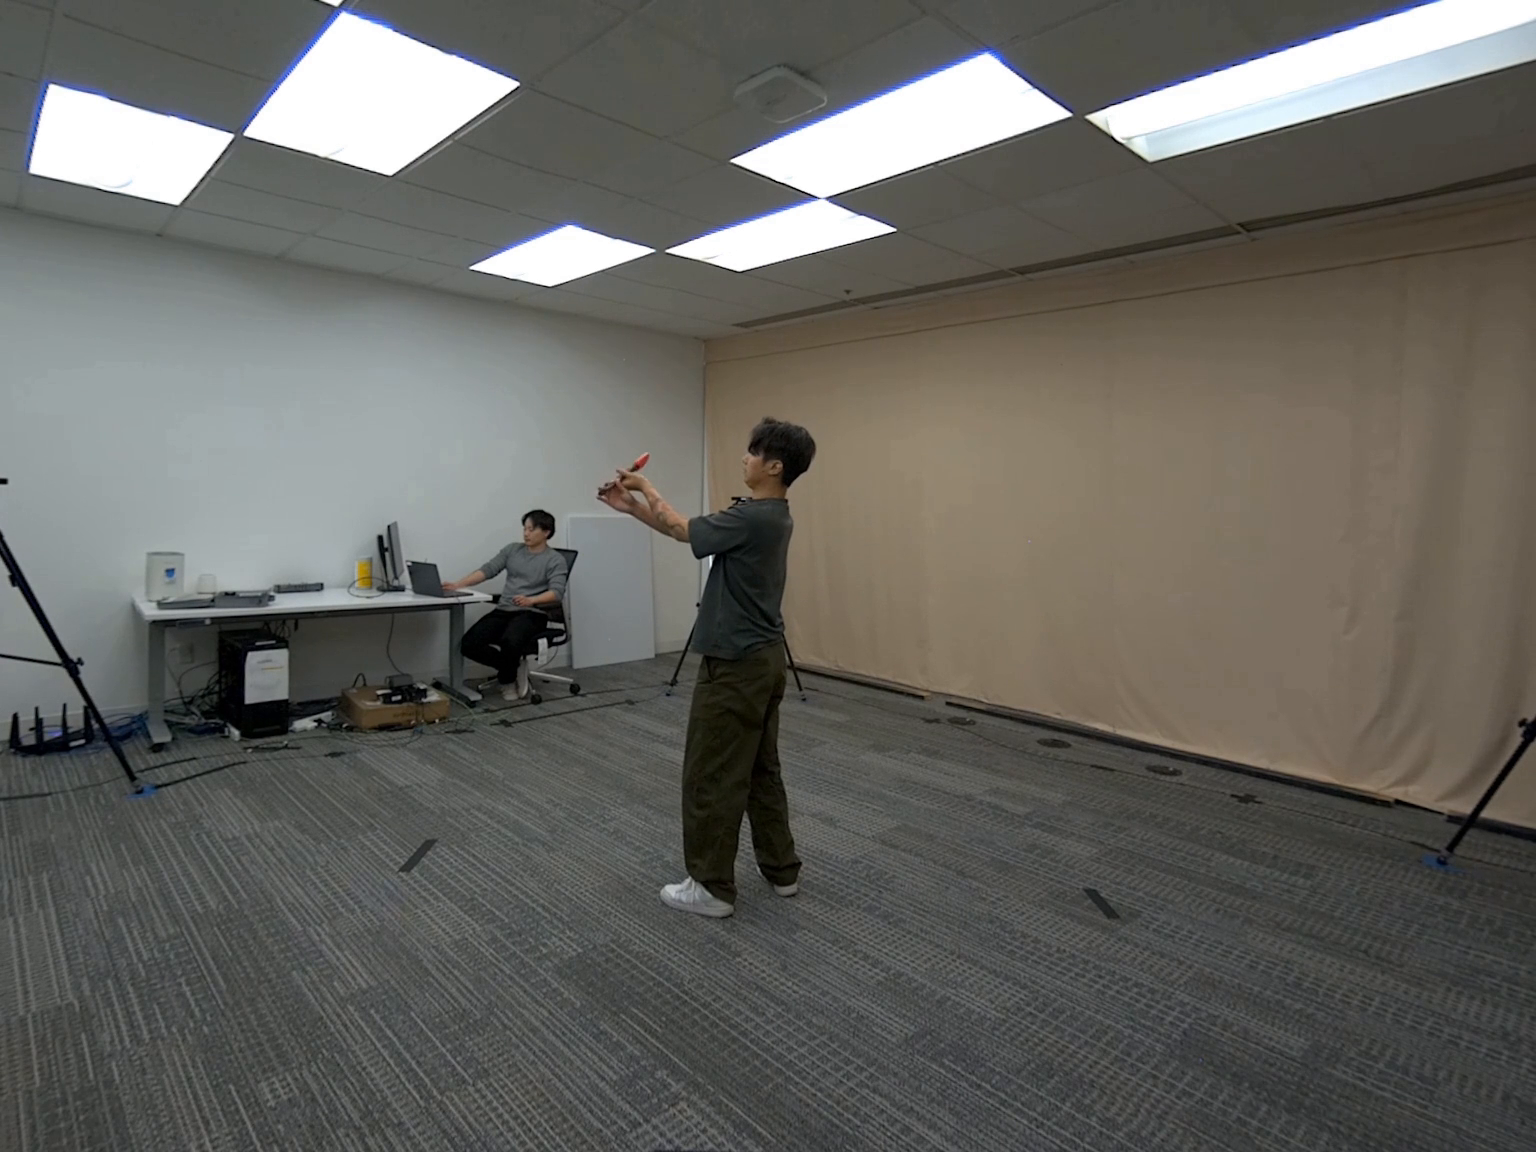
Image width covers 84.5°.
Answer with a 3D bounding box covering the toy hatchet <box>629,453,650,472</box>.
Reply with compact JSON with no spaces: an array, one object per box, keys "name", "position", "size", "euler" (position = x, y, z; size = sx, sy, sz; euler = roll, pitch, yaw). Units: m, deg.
[{"name":"toy hatchet","position":[-0.516,-0.371,2.966],"size":[0.131,0.029,0.270],"euler":[-38,7,34]}]
